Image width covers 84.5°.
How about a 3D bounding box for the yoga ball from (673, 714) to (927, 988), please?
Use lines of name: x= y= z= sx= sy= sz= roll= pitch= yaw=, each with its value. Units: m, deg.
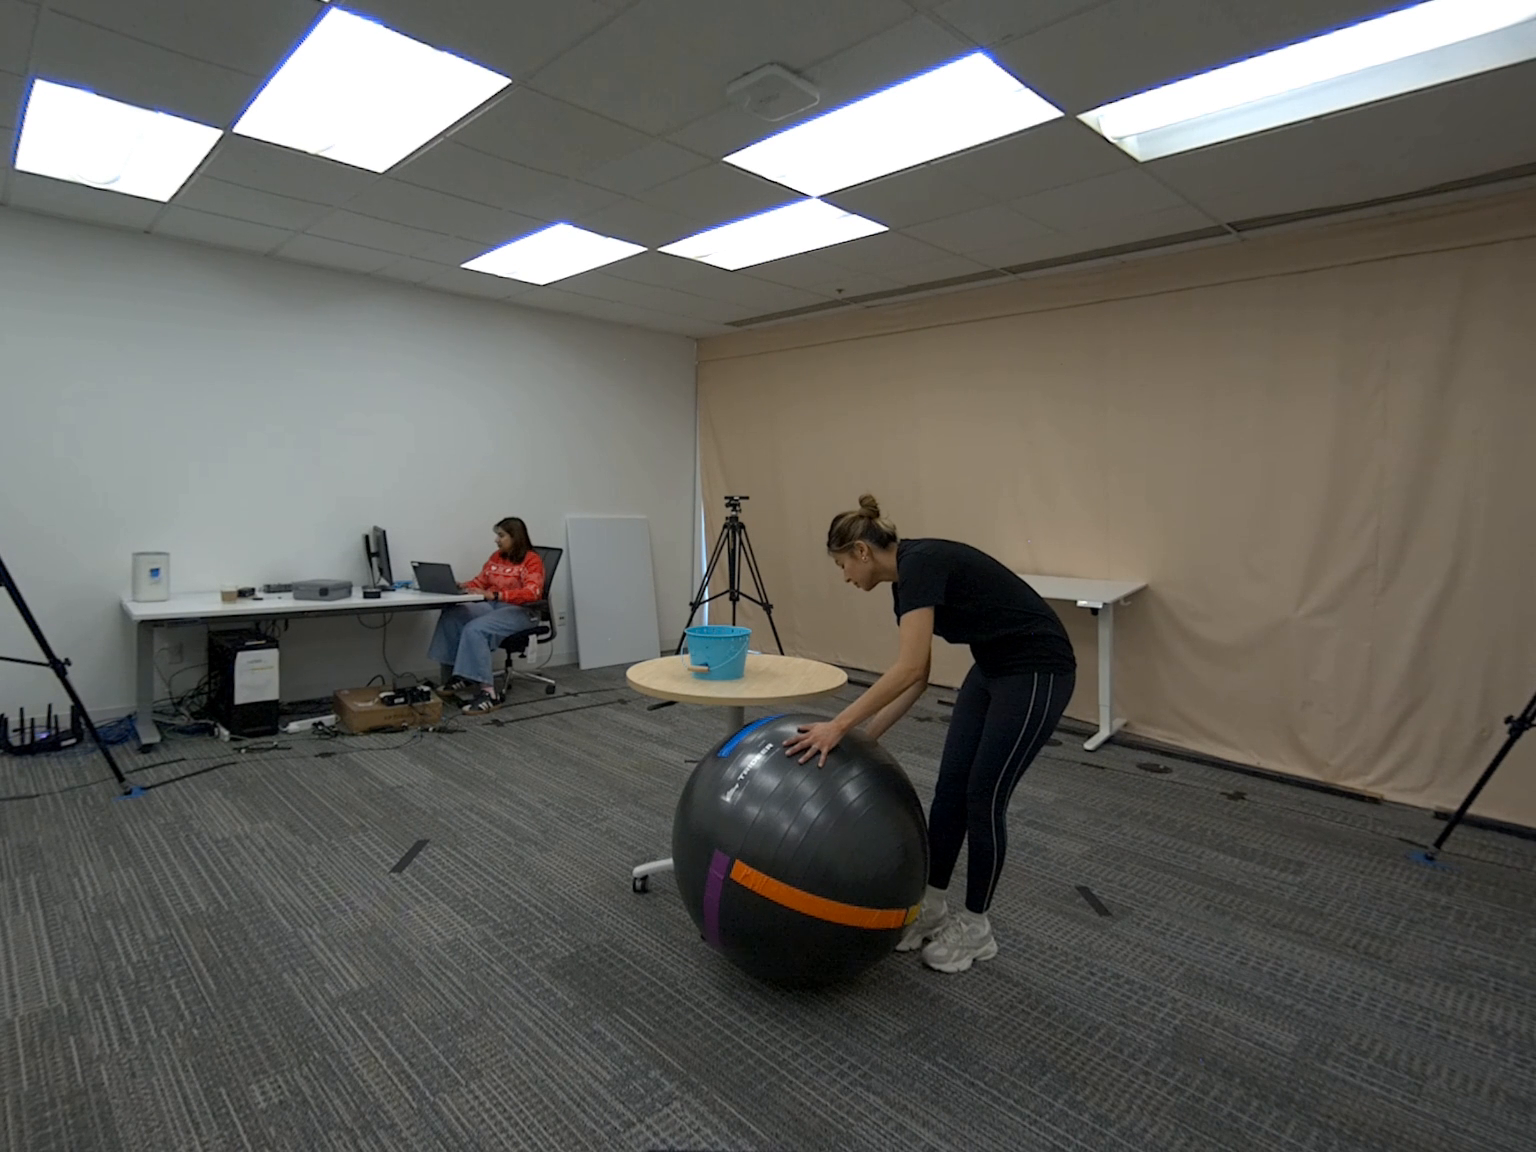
yoga ball: x=0.088 y=0.802 z=2.487 sx=0.757 sy=0.756 sz=0.761 roll=1 pitch=4 yaw=-1
